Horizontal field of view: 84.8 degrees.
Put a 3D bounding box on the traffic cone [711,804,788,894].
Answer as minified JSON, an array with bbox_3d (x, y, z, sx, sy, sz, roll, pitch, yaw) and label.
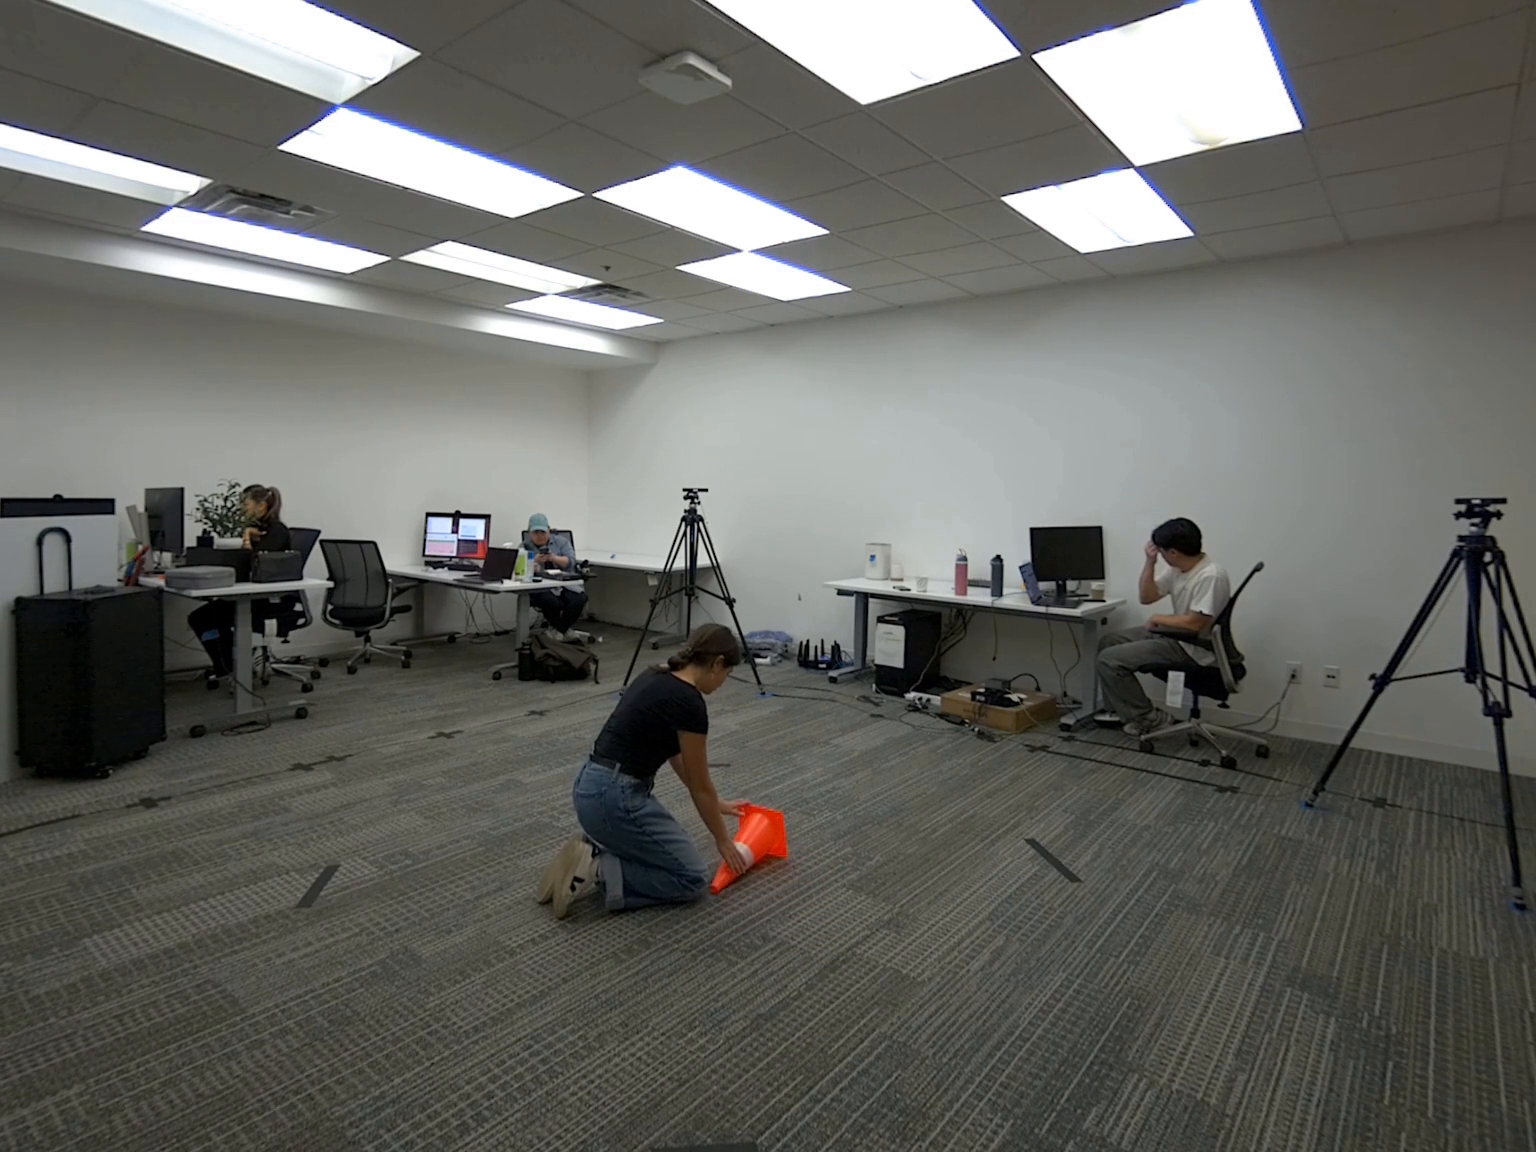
[{"bbox_3d":[-0.104,1.016,3.083,0.209,0.202,0.379,2,17,27],"label":"traffic cone"}]
